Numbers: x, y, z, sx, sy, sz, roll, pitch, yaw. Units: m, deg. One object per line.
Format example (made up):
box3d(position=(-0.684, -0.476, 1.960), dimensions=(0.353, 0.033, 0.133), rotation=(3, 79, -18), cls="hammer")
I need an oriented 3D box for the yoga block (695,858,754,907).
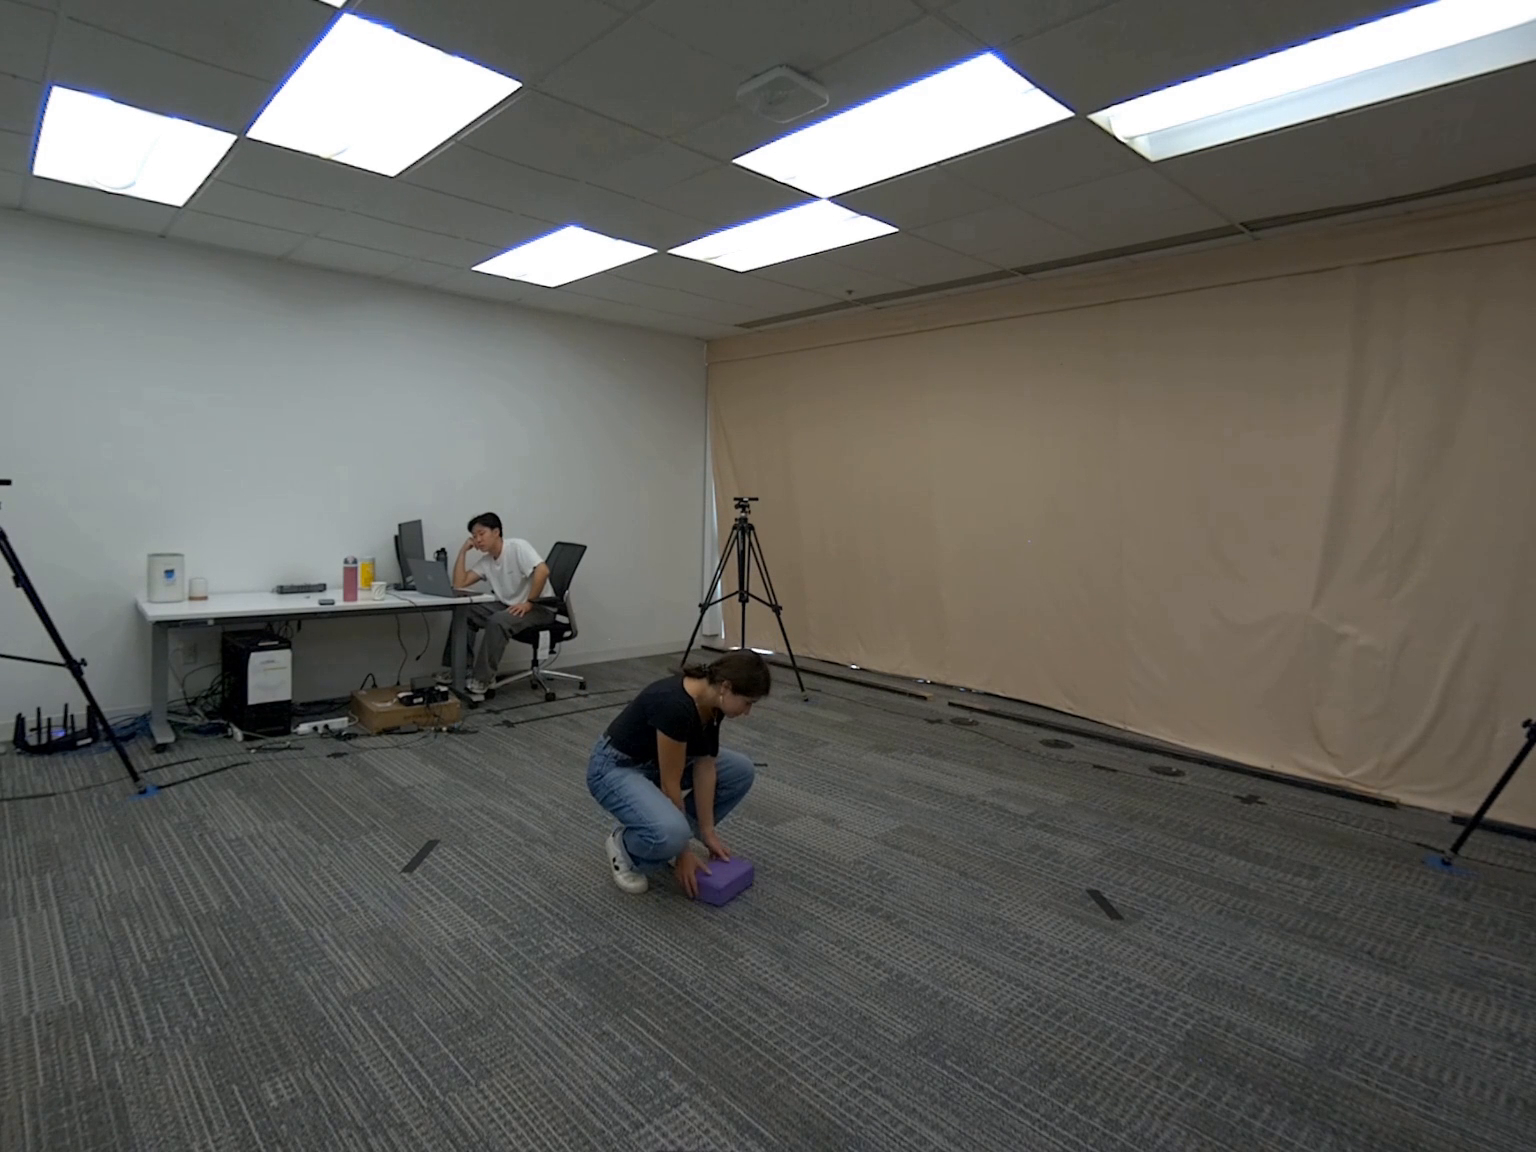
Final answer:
box3d(position=(-0.176, 1.080, 2.975), dimensions=(0.152, 0.076, 0.225), rotation=(6, 7, 34), cls="yoga block")
